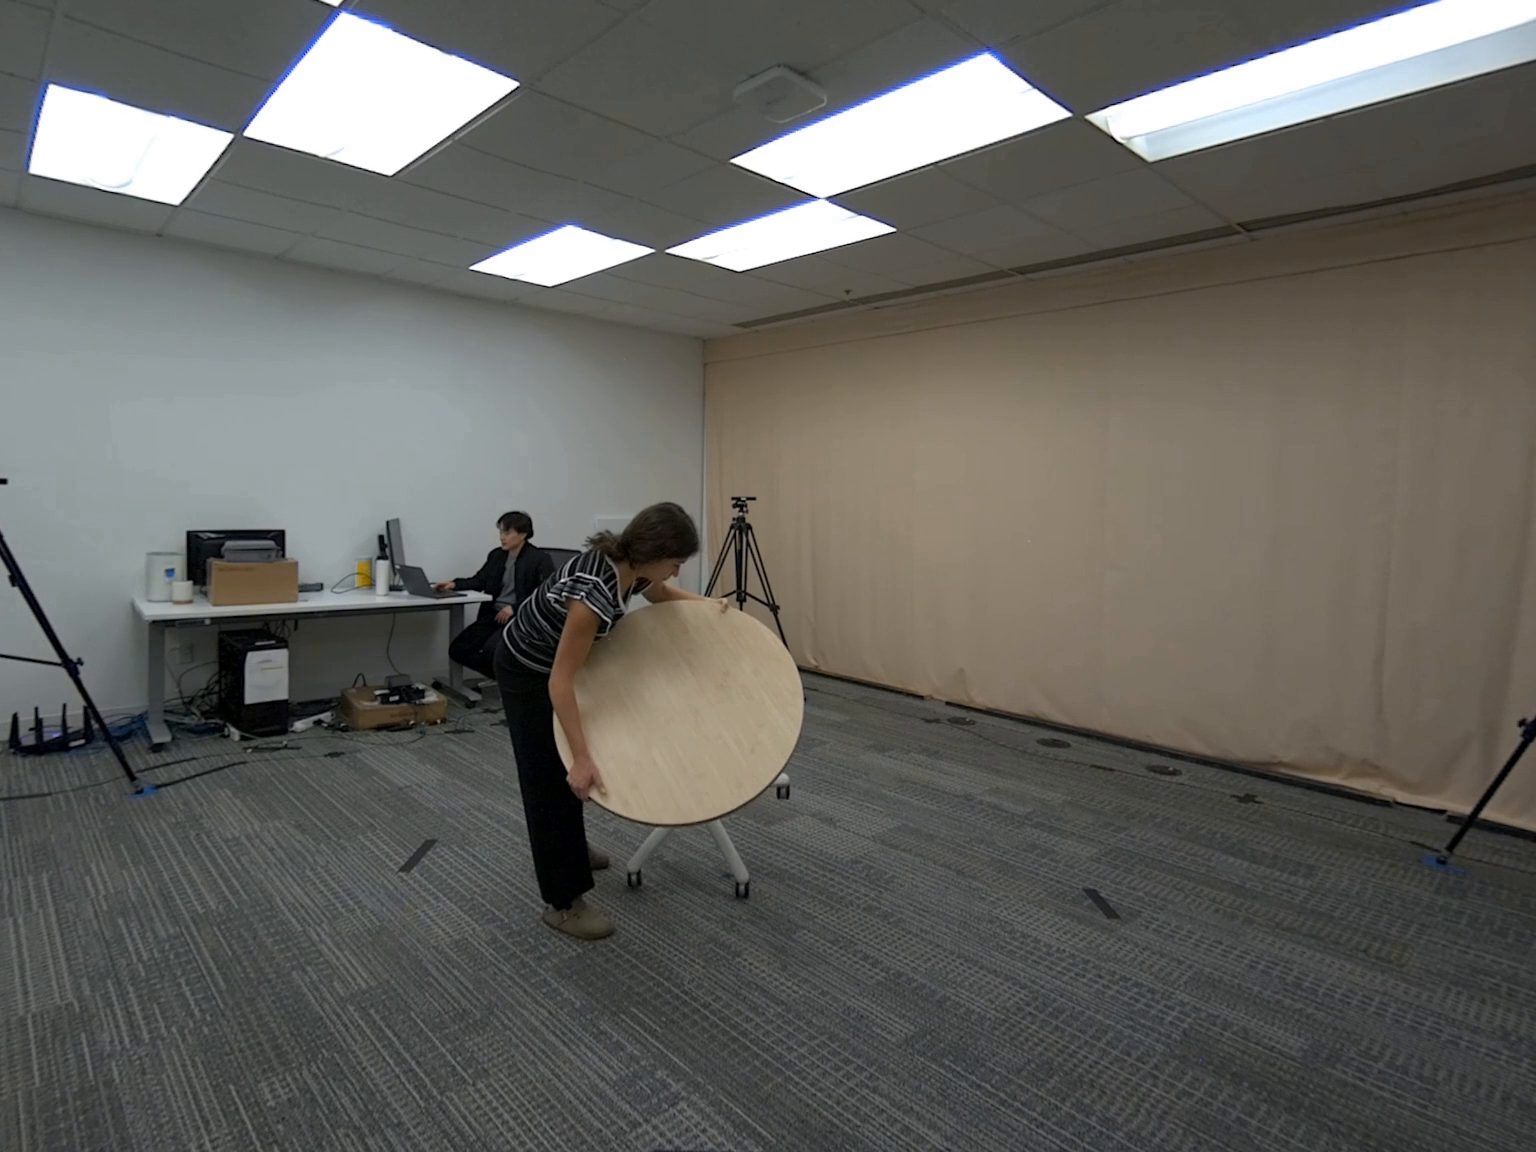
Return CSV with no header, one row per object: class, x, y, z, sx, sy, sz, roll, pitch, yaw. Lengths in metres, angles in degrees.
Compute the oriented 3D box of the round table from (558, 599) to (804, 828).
round table,-0.279,0.622,2.881,0.788,0.800,0.768,2,-40,4
